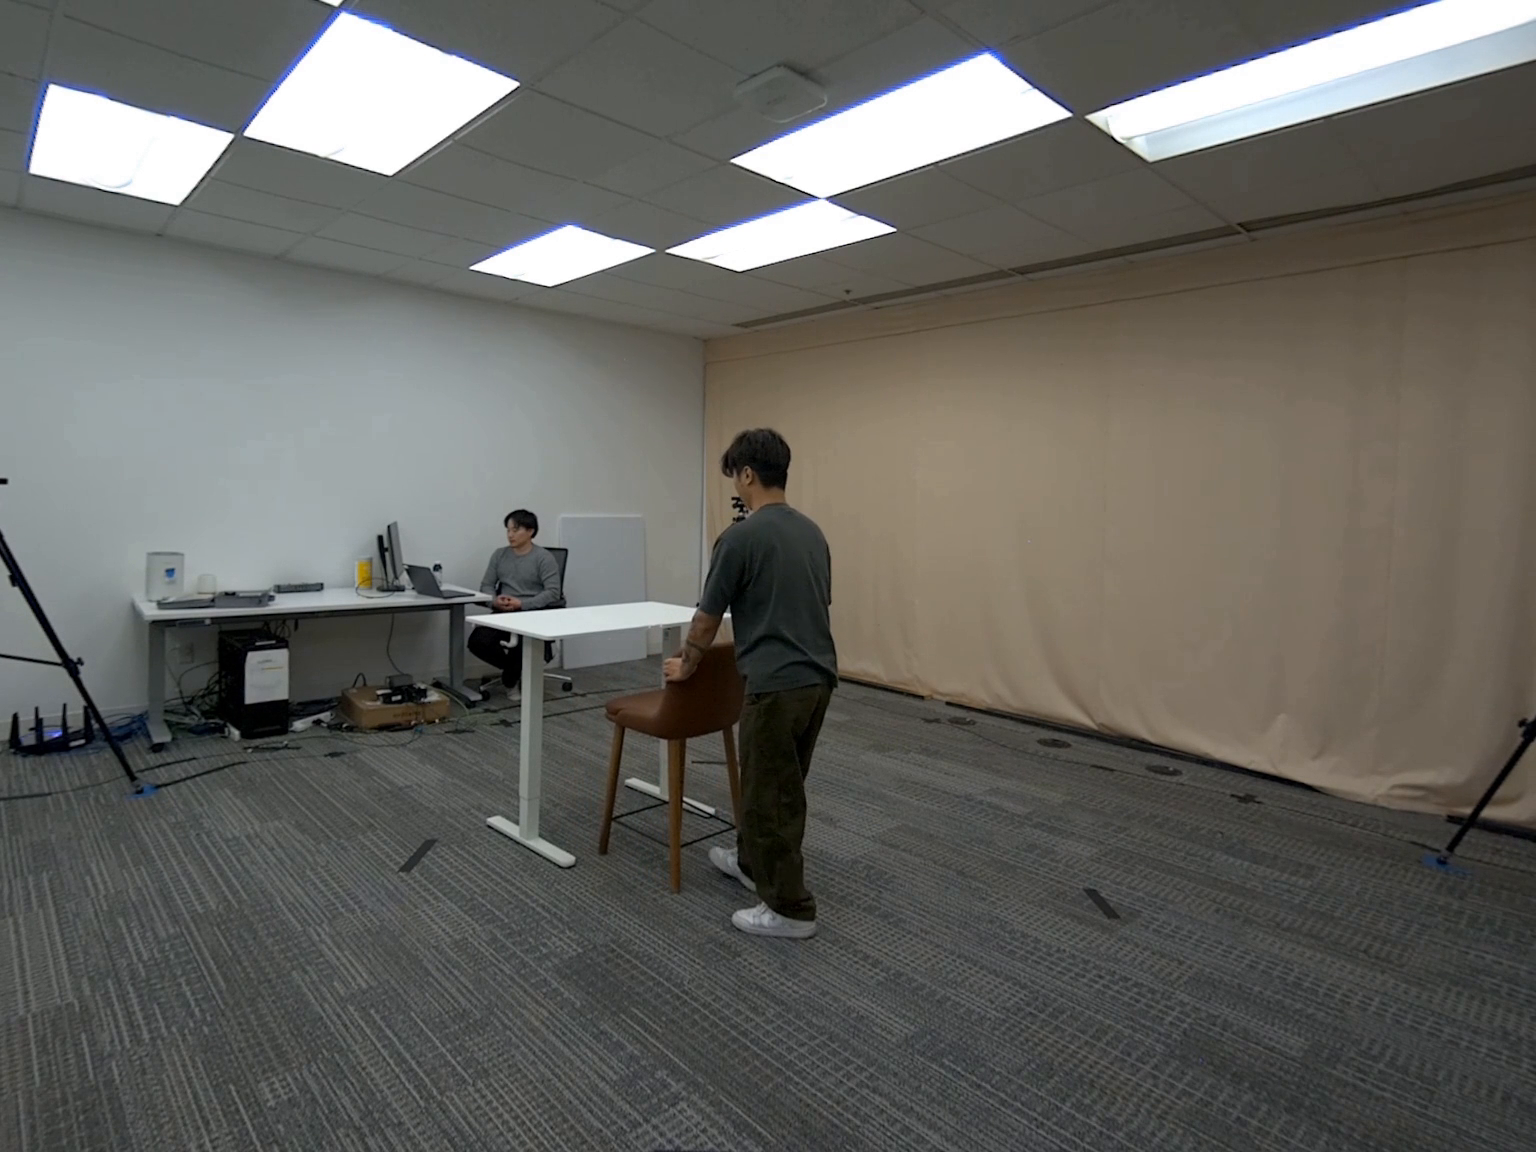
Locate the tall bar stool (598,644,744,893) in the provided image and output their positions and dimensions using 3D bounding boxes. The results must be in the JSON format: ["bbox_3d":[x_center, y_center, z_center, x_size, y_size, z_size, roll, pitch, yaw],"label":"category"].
[{"bbox_3d":[-0.346,0.652,3.210,0.446,0.886,0.480,-2,7,-44],"label":"tall bar stool"}]
